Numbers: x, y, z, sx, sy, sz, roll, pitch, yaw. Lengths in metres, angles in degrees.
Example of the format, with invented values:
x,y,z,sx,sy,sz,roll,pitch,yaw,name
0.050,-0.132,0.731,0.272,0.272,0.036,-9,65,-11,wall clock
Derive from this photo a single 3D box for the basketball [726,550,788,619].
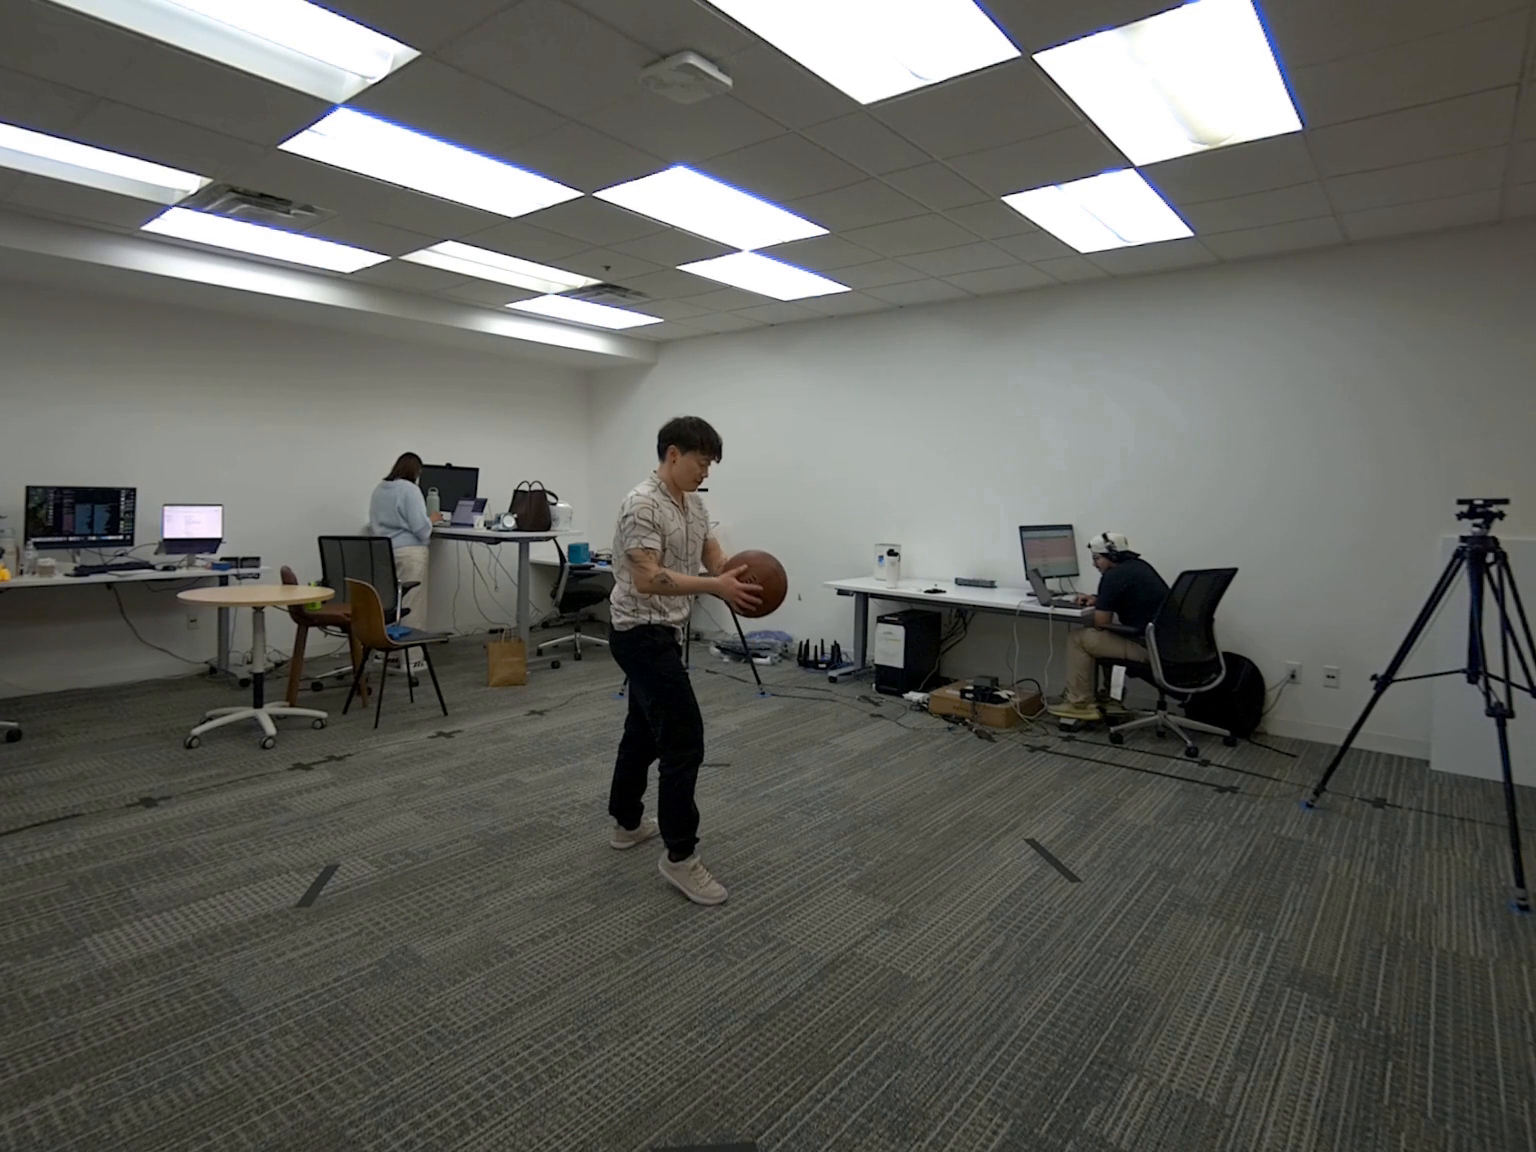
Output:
x,y,z,sx,sy,sz,roll,pitch,yaw,name
-0.067,0.035,2.964,0.235,0.235,0.237,1,4,-2,basketball
